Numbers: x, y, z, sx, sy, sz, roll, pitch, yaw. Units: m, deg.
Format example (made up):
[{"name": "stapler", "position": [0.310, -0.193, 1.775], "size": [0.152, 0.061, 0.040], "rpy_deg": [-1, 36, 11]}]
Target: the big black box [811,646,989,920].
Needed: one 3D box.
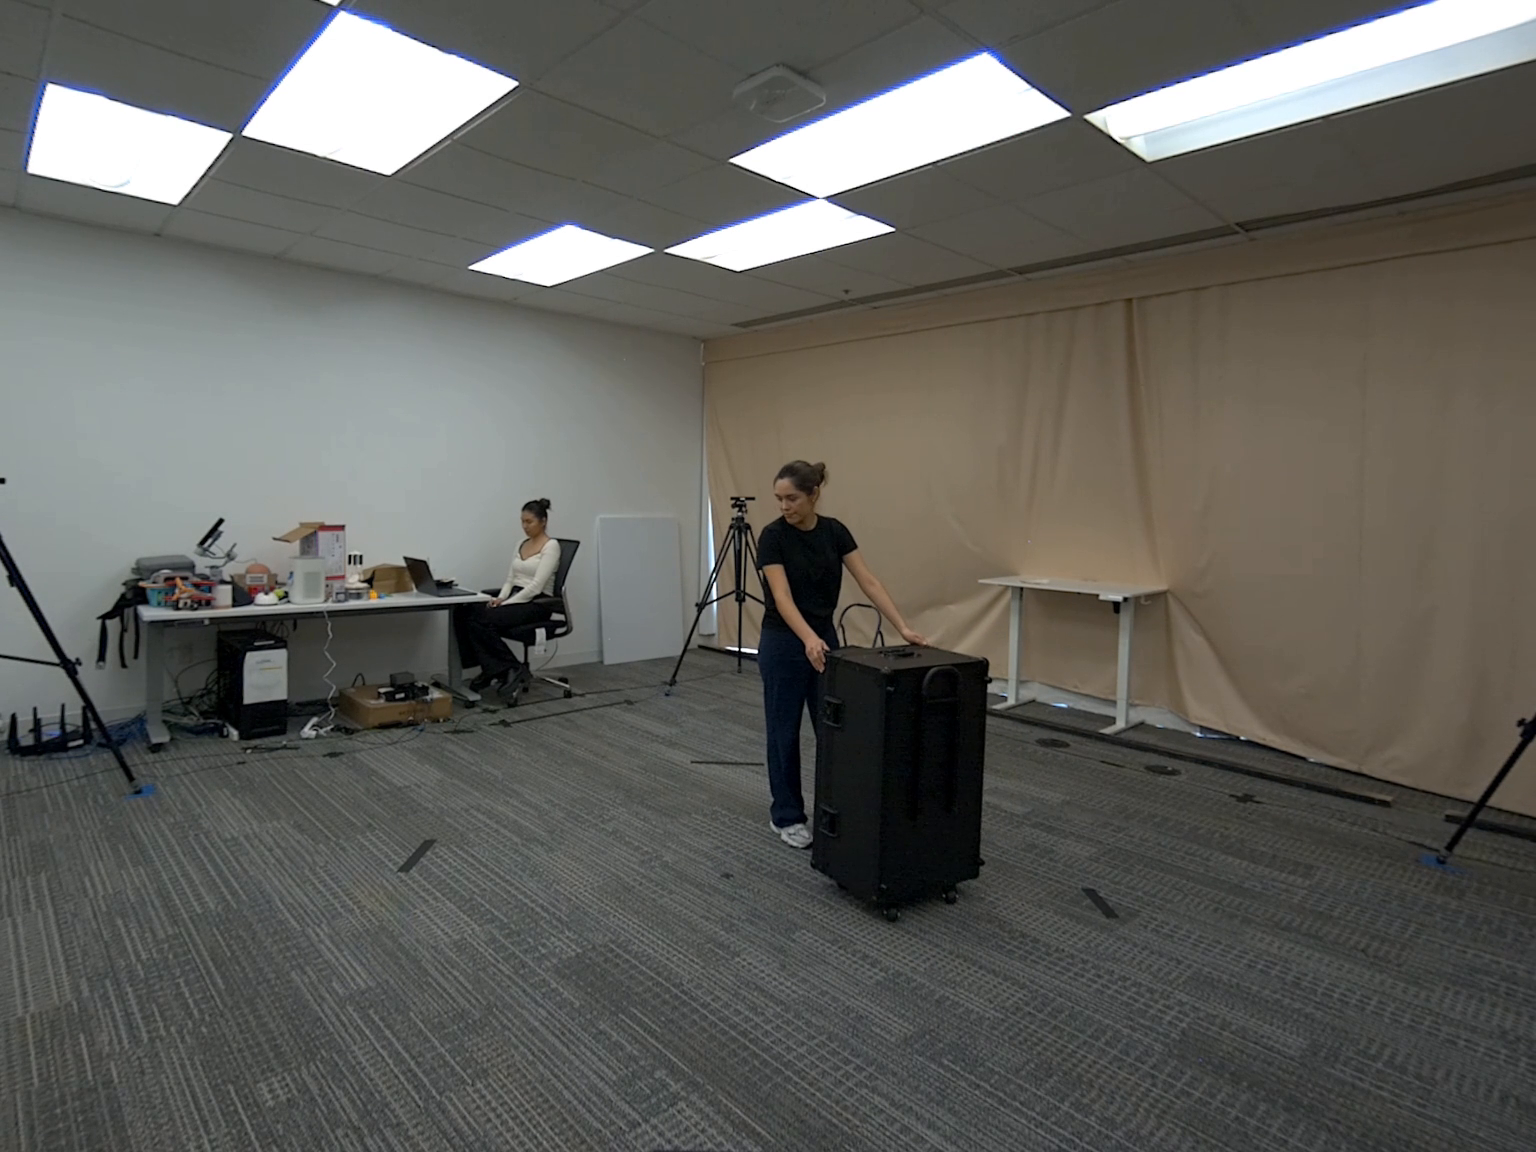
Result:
[{"name": "big black box", "position": [0.477, 0.706, 2.972], "size": [0.510, 0.859, 0.406], "rpy_deg": [-1, 5, -33]}]
